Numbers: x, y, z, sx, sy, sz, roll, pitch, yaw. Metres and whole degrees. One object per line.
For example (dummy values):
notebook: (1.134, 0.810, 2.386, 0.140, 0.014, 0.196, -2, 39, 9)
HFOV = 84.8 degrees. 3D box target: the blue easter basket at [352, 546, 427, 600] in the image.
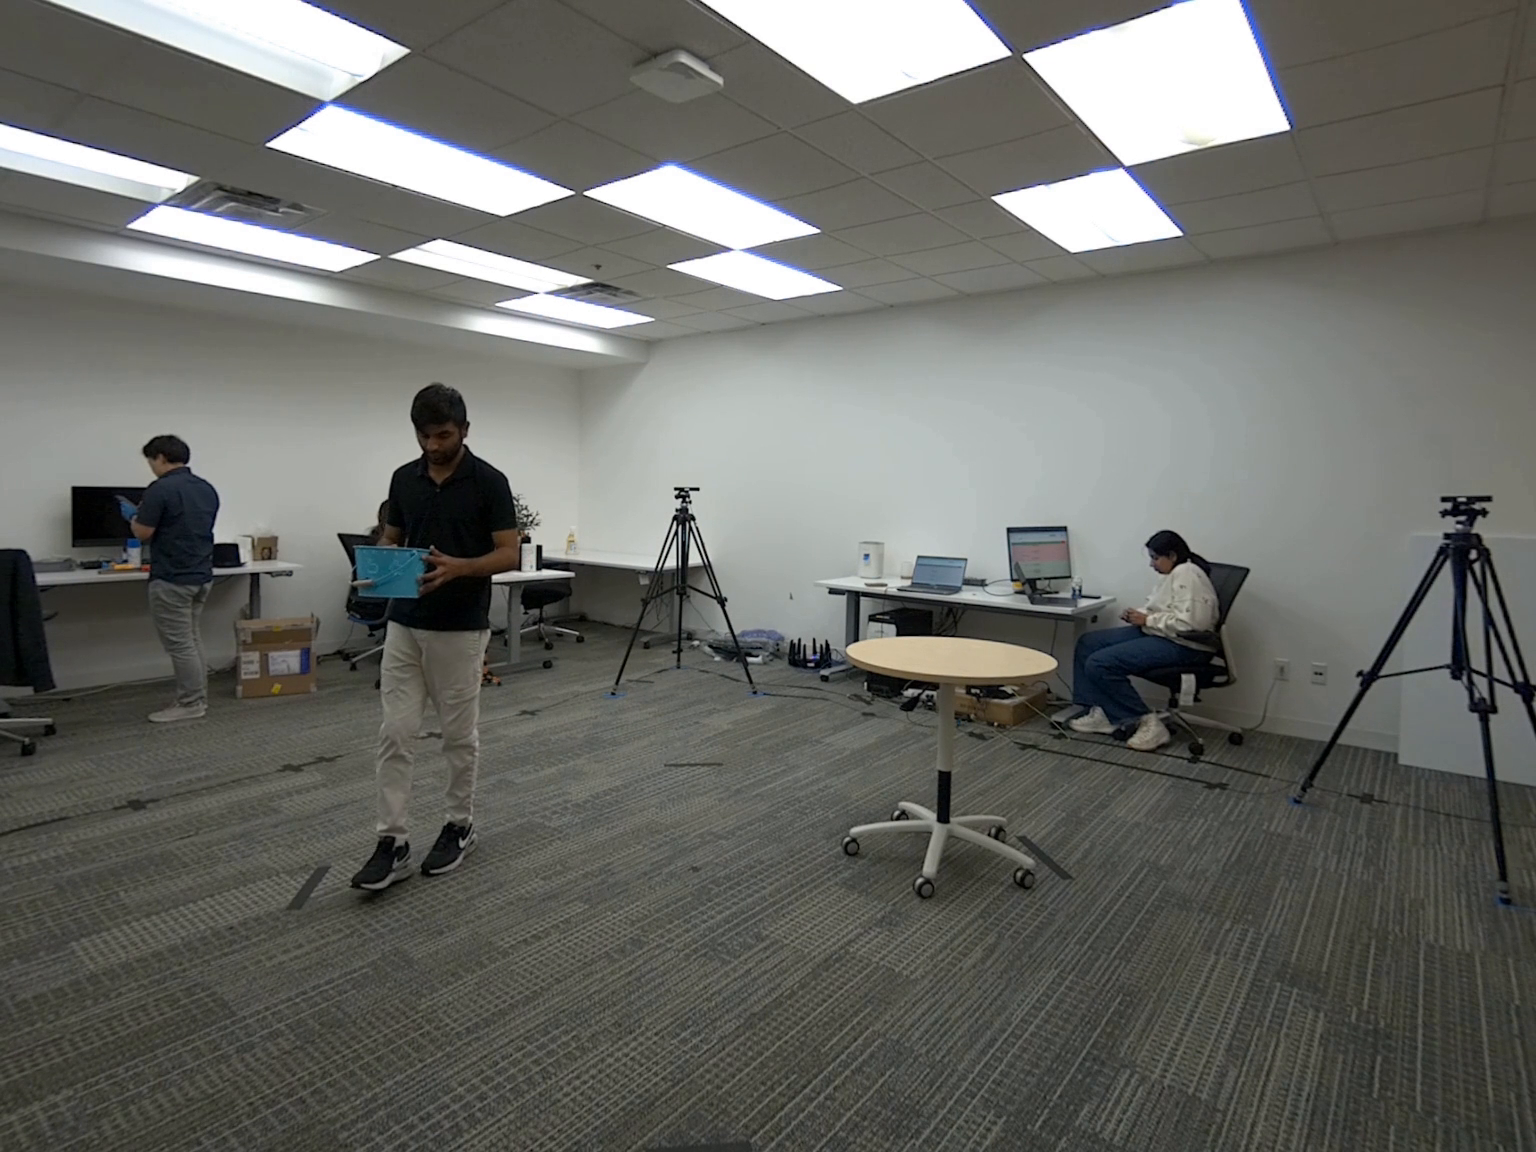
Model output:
blue easter basket: (-1.234, -0.013, 2.684, 0.243, 0.156, 0.243, 3, 0, -2)
